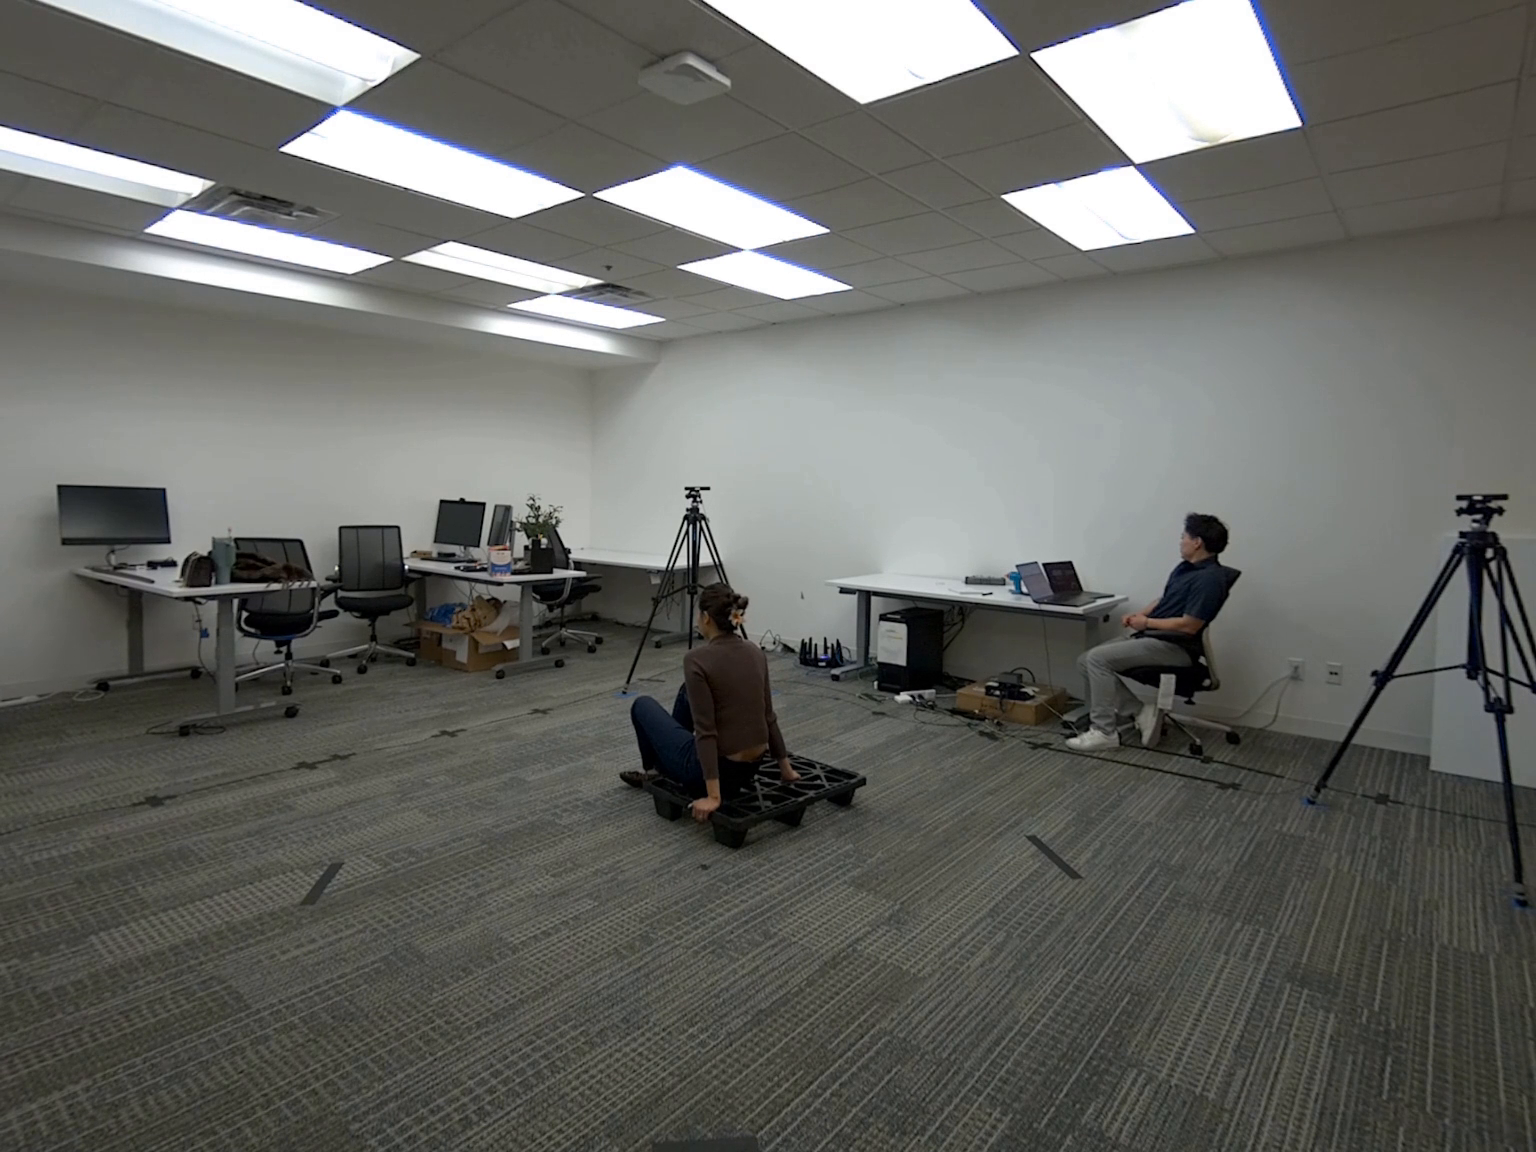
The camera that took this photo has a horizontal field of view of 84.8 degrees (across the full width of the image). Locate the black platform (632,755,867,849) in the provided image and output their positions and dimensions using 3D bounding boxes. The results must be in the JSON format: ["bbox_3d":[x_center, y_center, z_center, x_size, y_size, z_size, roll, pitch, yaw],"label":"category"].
[{"bbox_3d":[-0.054,0.945,3.687,0.782,0.143,0.626,-5,8,-44],"label":"black platform"}]
